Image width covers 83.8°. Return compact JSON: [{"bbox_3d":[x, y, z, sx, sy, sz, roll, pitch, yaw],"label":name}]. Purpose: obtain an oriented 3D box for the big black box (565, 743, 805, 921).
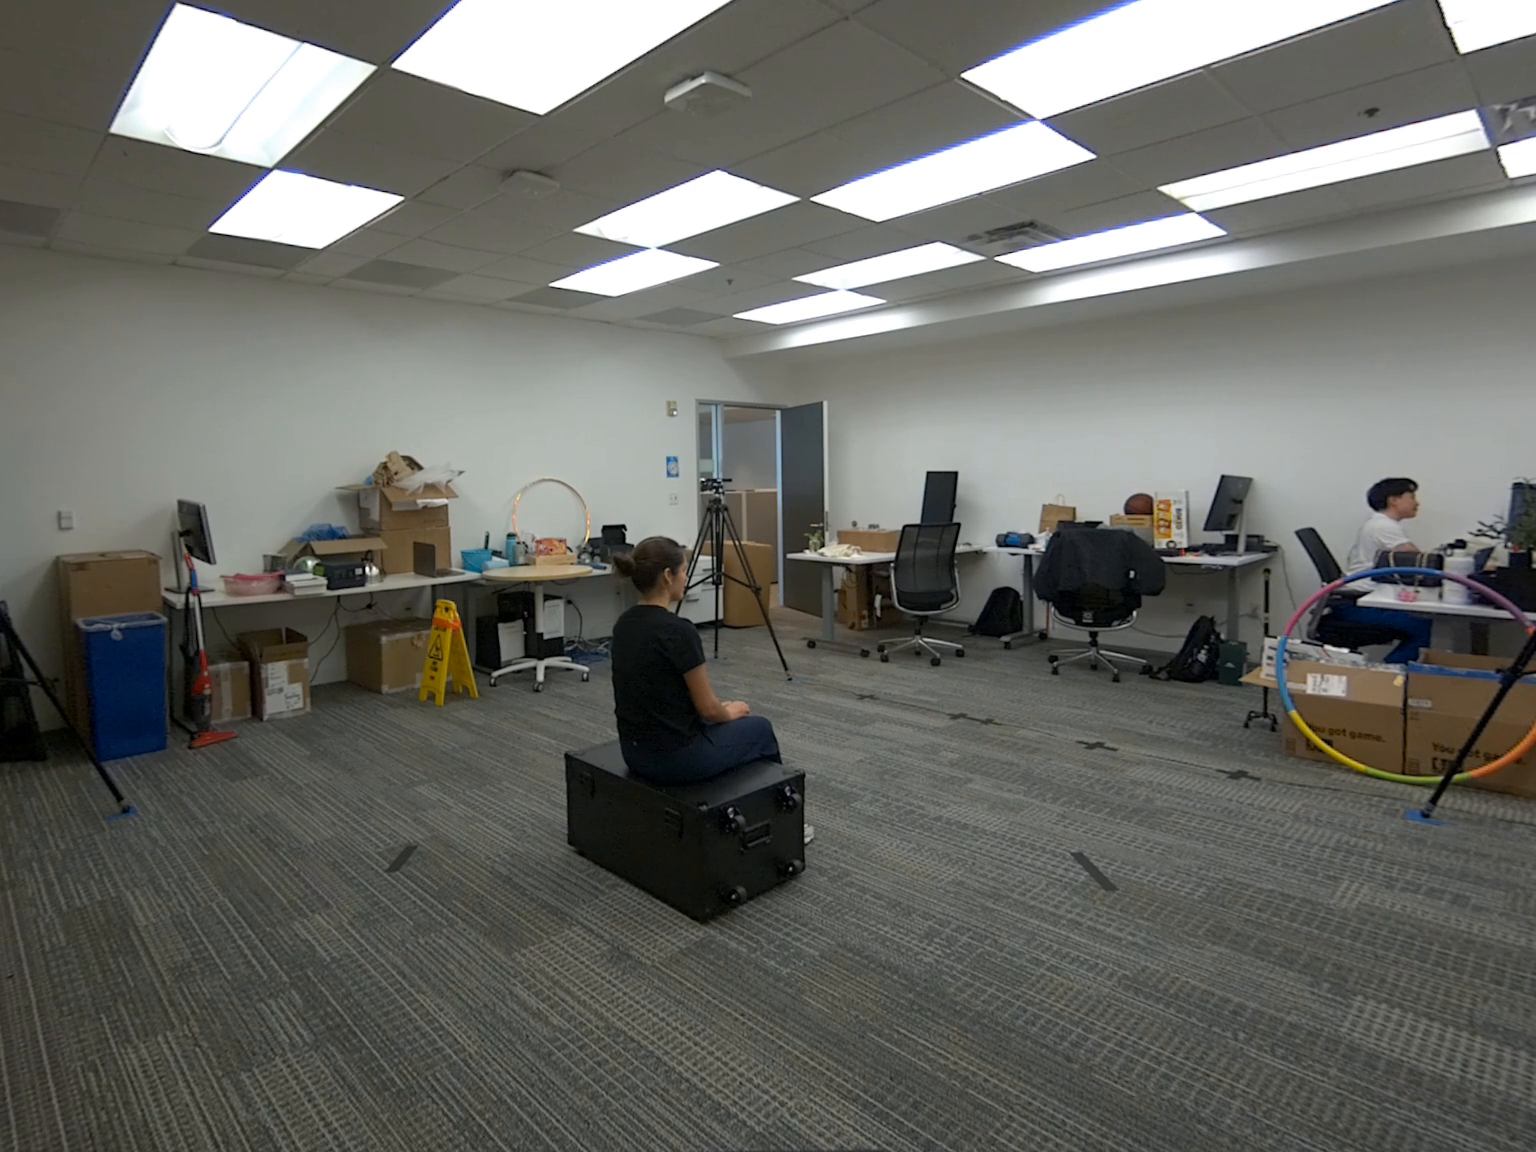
[{"bbox_3d":[-0.296,0.863,3.093,0.508,0.394,0.888,-7,8,-44],"label":"big black box"}]
